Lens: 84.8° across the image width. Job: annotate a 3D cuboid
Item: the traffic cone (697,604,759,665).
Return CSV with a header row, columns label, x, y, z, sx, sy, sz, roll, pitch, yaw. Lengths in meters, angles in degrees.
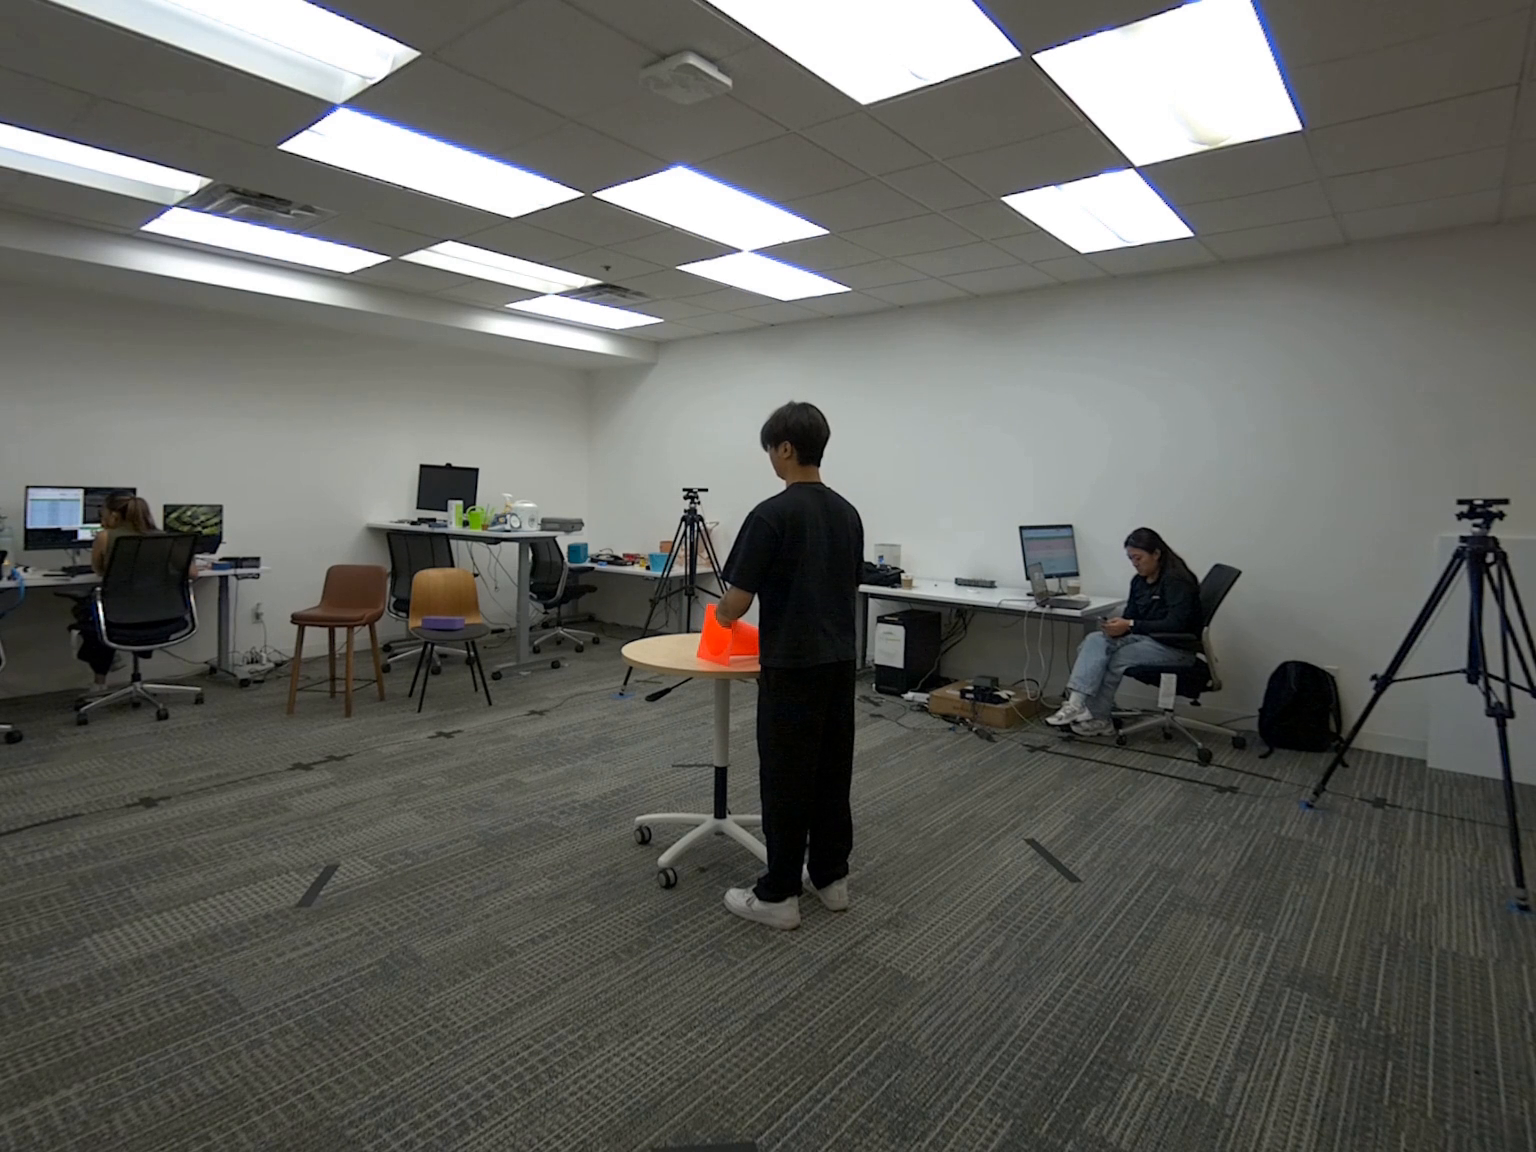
label,x,y,z,sx,sy,sz,roll,pitch,yaw
traffic cone,-0.036,0.238,3.087,0.371,0.204,0.211,11,-2,-34
